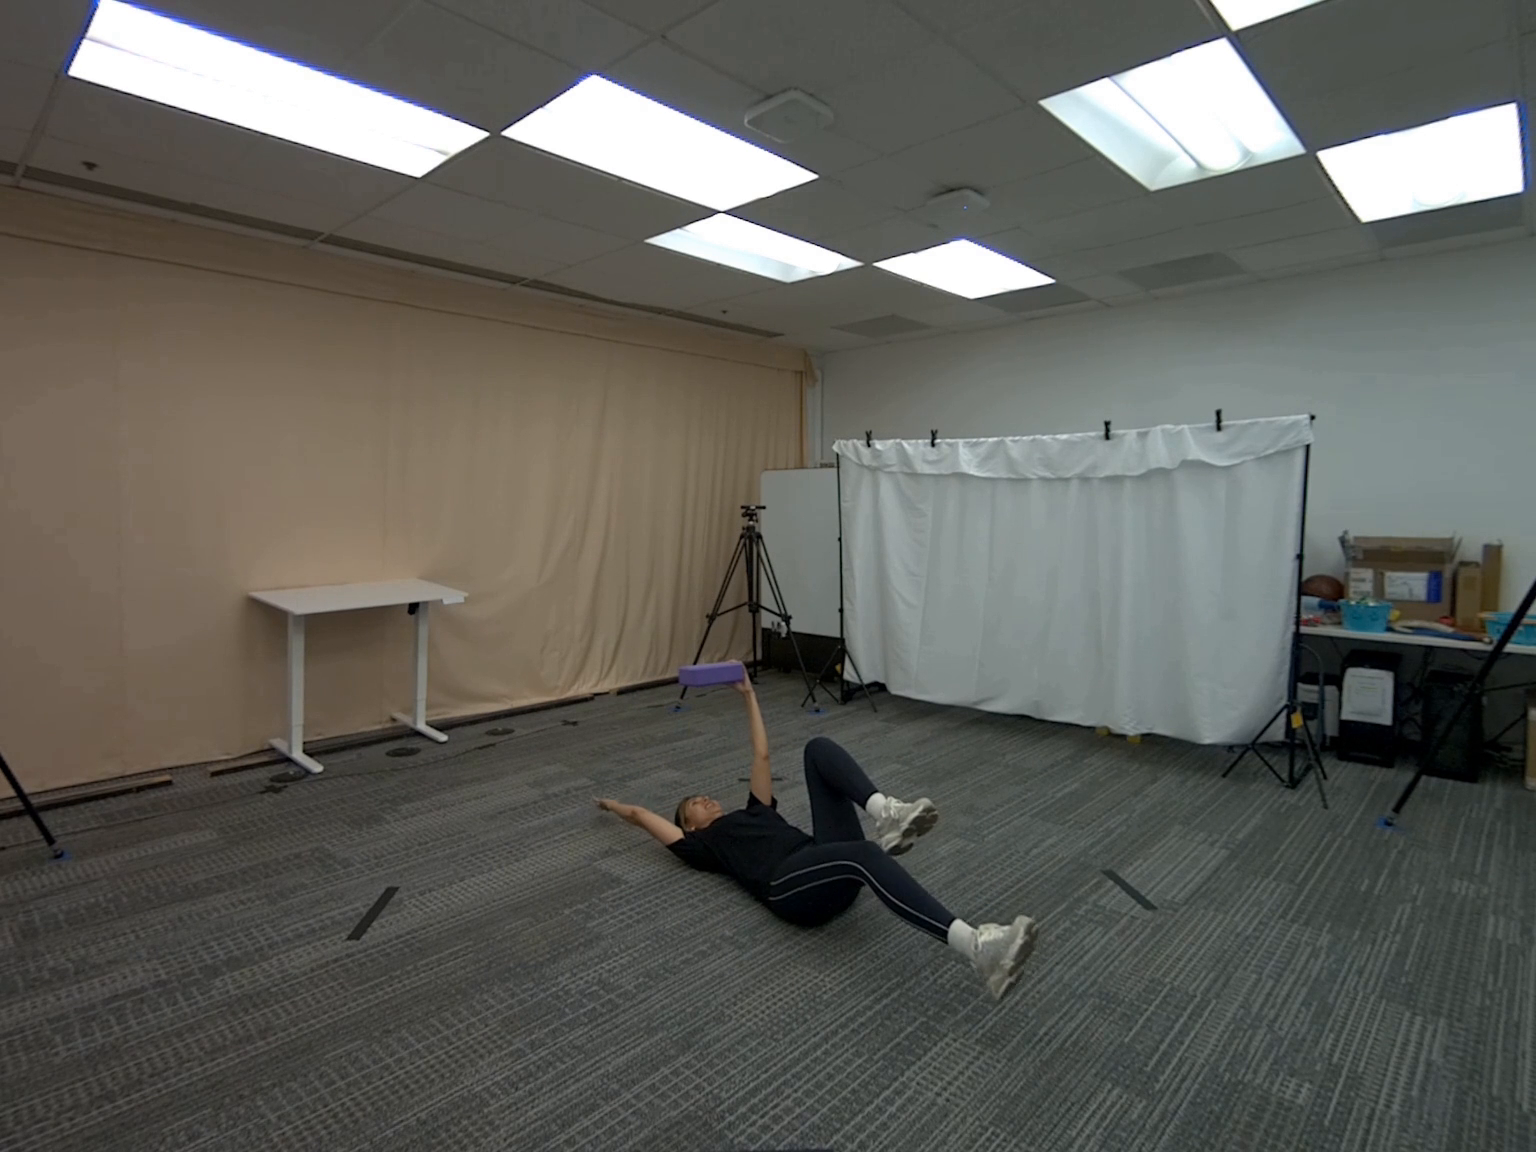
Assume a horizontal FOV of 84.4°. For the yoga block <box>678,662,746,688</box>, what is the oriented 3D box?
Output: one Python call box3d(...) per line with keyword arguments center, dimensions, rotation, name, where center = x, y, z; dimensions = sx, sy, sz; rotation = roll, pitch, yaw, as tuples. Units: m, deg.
box3d(center=(-0.232, 0.401, 3.470), dimensions=(0.224, 0.076, 0.152), rotation=(-3, 0, -27), name="yoga block")
